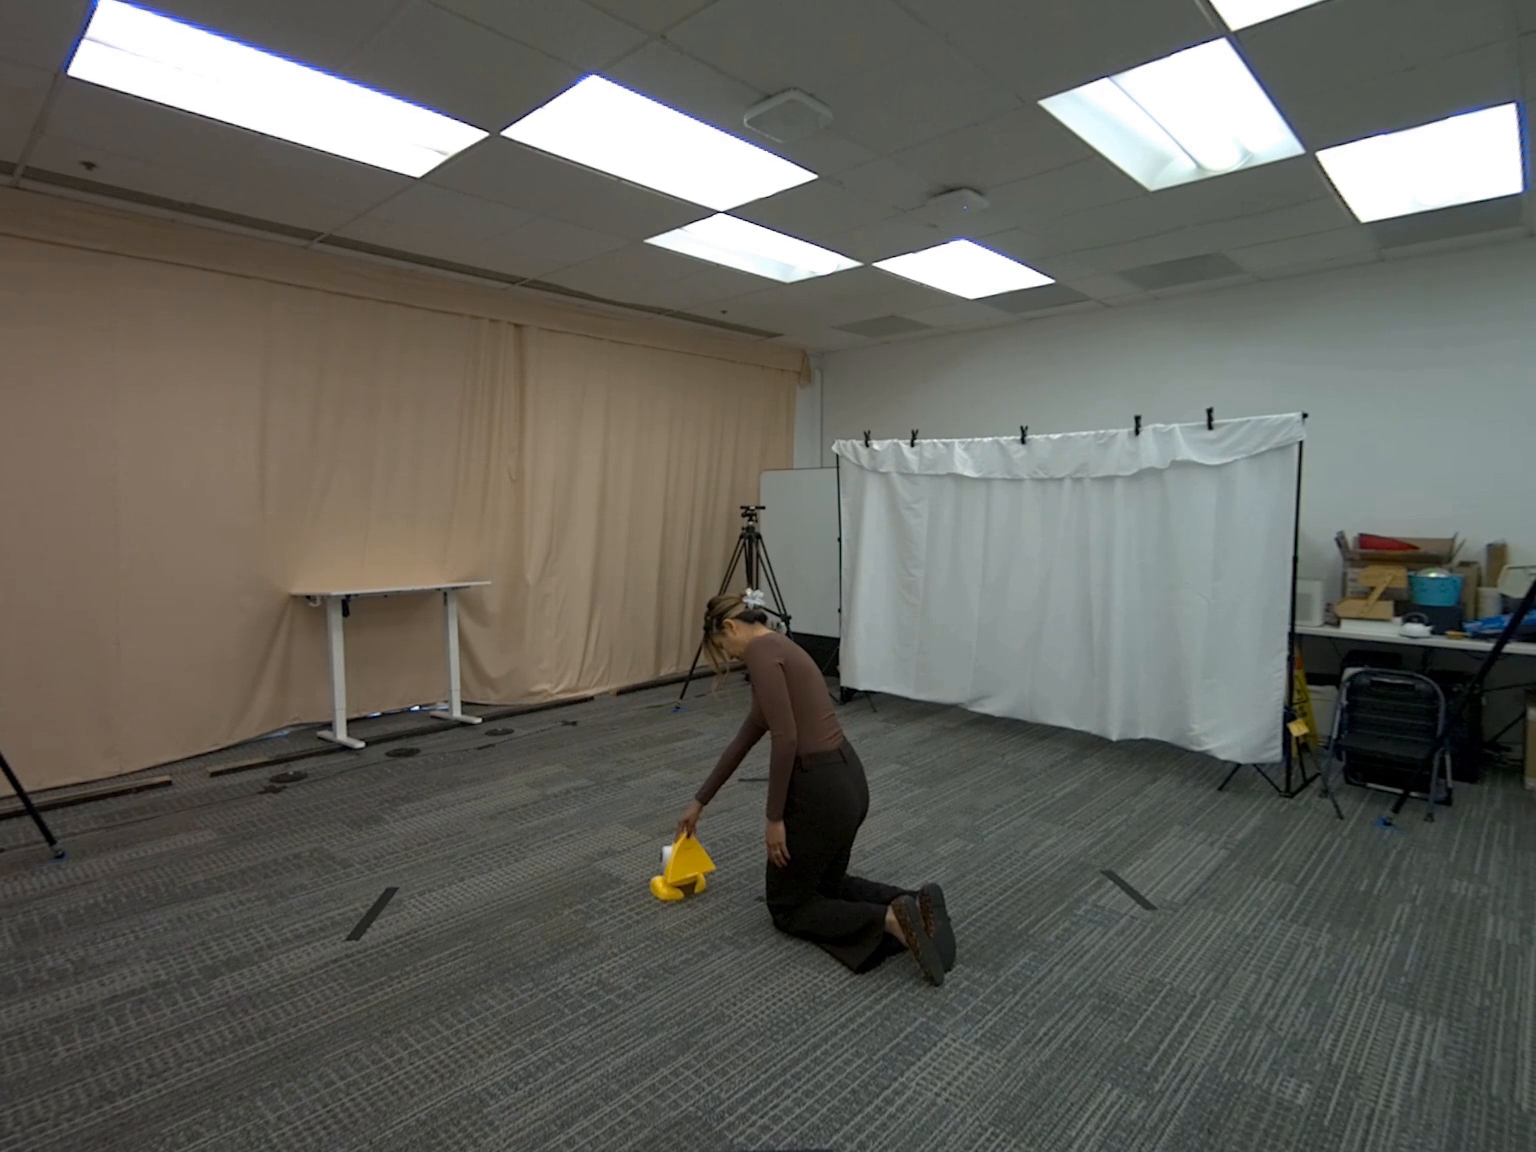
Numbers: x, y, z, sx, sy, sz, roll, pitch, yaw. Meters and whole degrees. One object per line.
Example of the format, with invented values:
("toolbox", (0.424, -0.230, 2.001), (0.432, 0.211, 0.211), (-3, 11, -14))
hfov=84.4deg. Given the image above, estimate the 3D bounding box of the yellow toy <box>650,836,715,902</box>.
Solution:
("yellow toy", (-0.324, 1.027, 3.067), (0.199, 0.230, 0.199), (-3, 4, -37))
